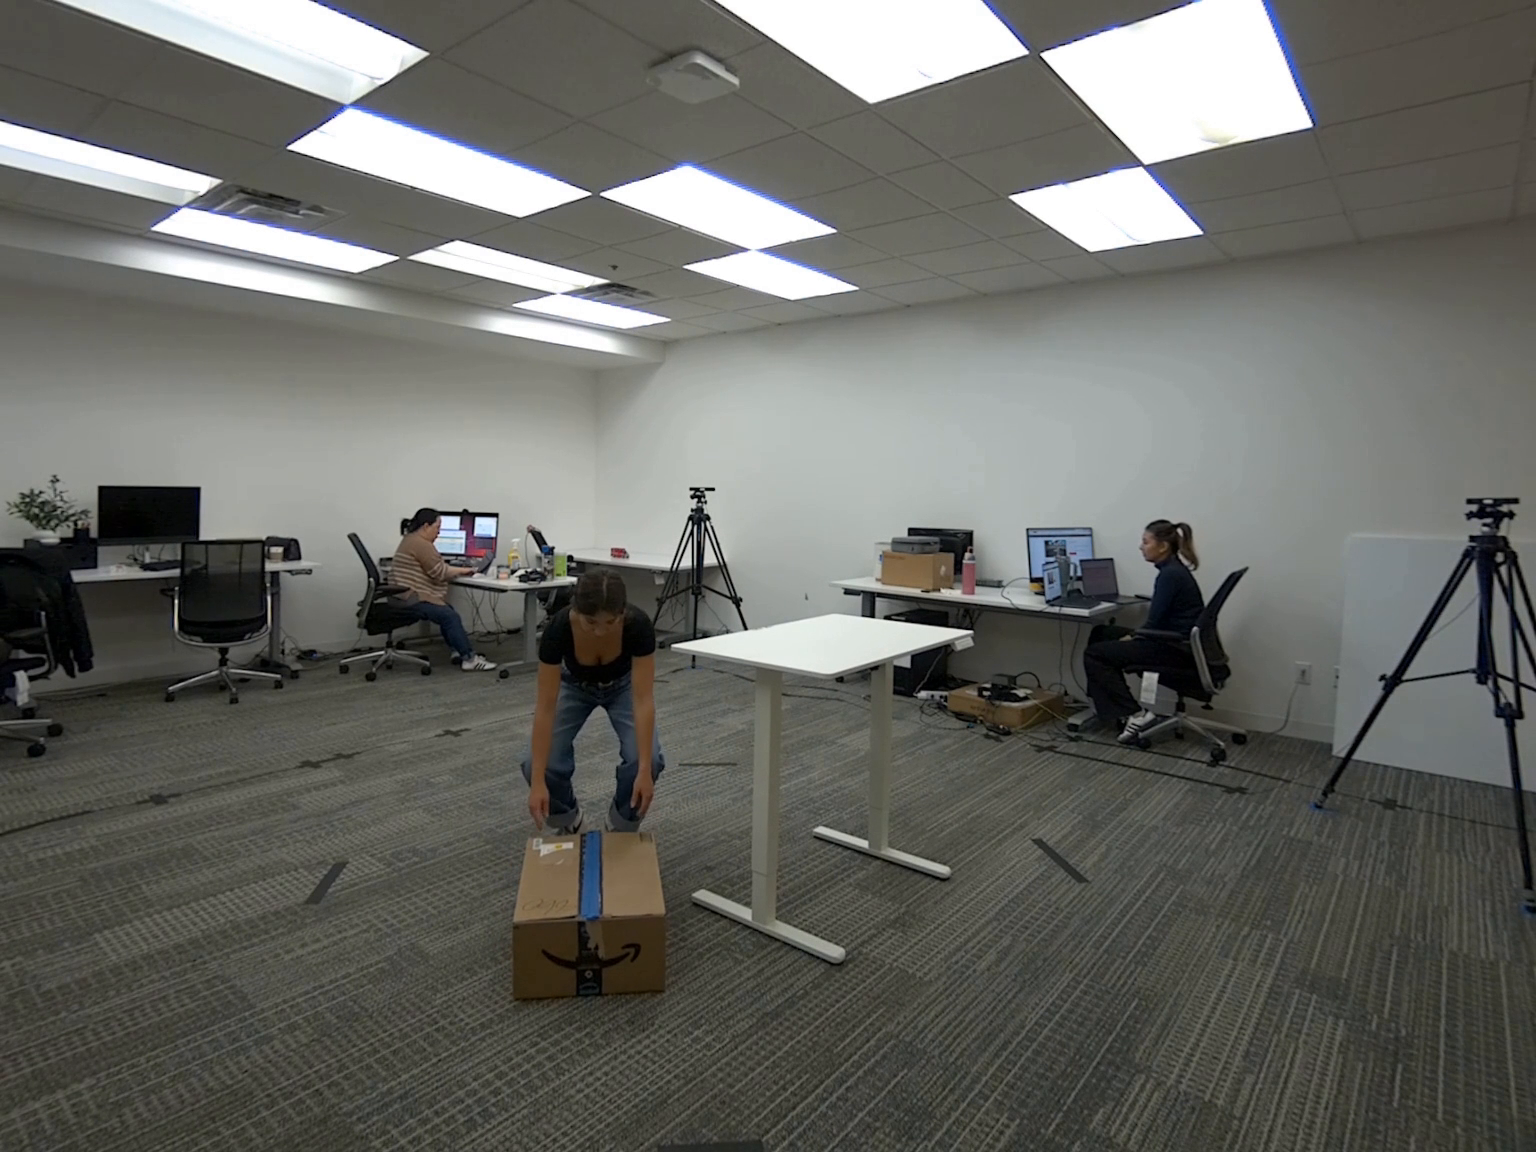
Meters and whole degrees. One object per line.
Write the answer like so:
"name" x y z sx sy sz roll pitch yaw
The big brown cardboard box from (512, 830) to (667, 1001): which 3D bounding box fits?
"big brown cardboard box" -0.547 1.001 2.588 0.413 0.232 0.598 -1 7 -11
